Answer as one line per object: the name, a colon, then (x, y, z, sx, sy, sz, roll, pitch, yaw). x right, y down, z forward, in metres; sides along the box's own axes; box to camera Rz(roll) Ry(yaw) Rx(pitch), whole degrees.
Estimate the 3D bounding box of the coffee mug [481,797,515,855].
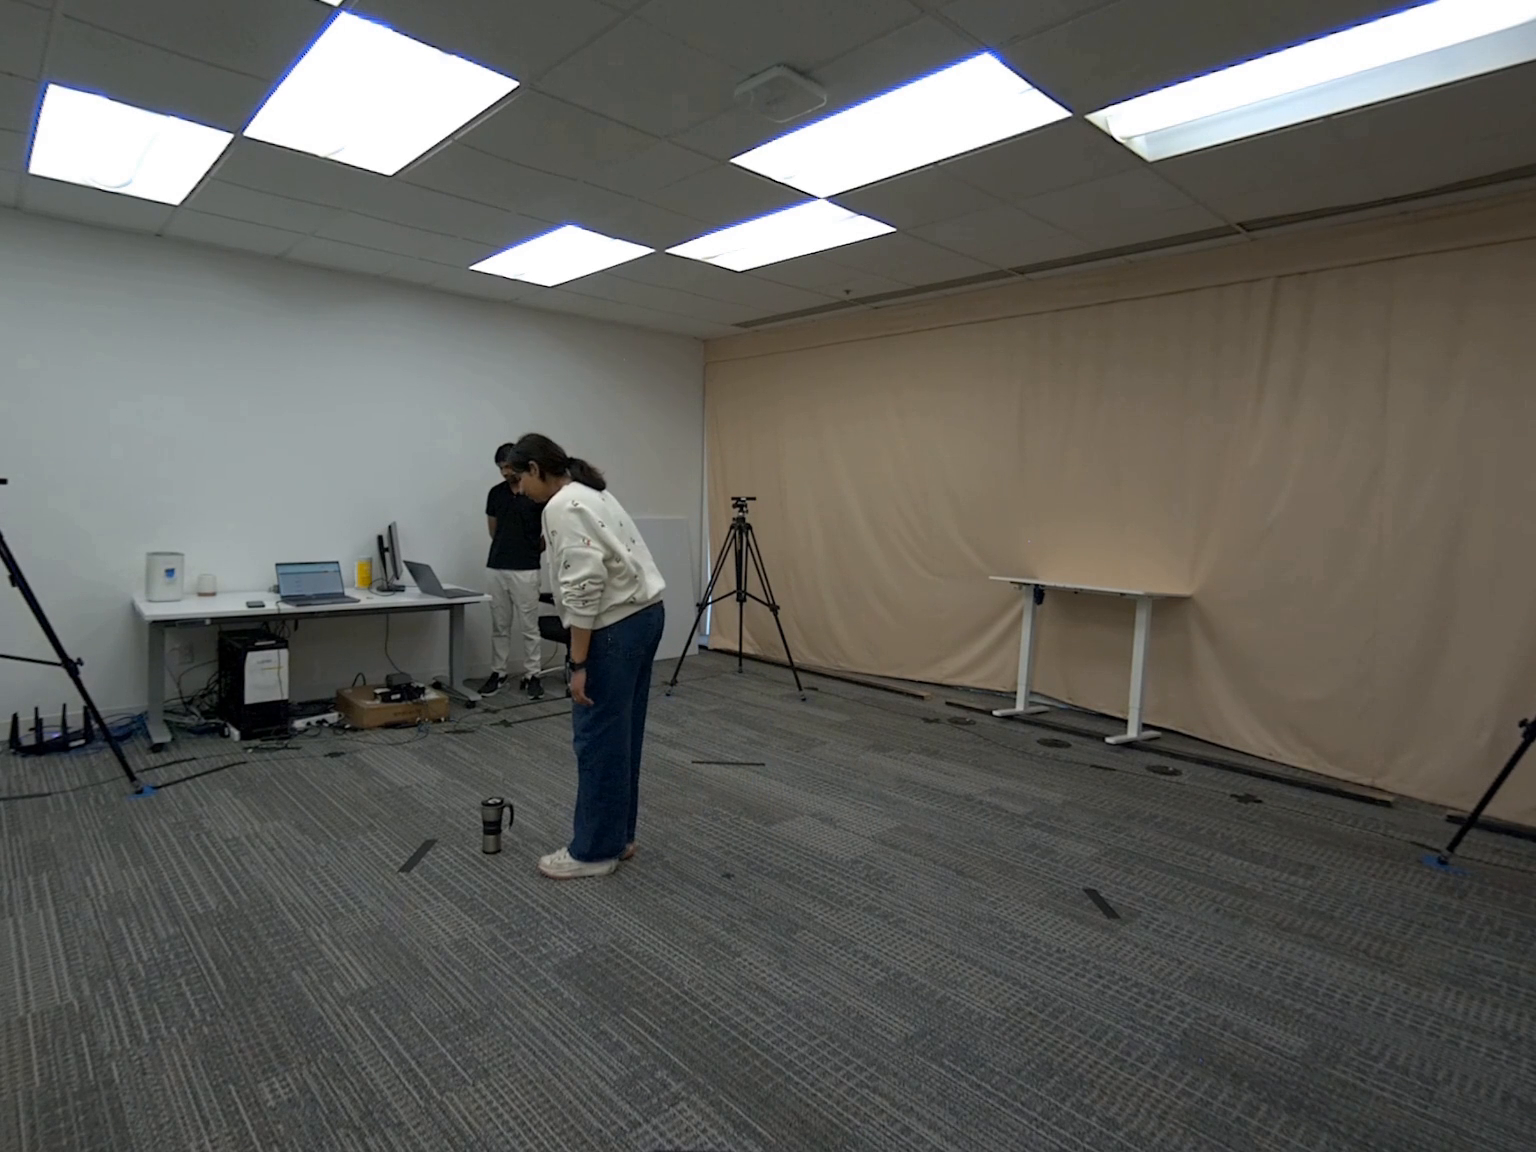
coffee mug: (-1.061, 0.967, 3.261, 0.125, 0.203, 0.086, 1, -2, 40)
